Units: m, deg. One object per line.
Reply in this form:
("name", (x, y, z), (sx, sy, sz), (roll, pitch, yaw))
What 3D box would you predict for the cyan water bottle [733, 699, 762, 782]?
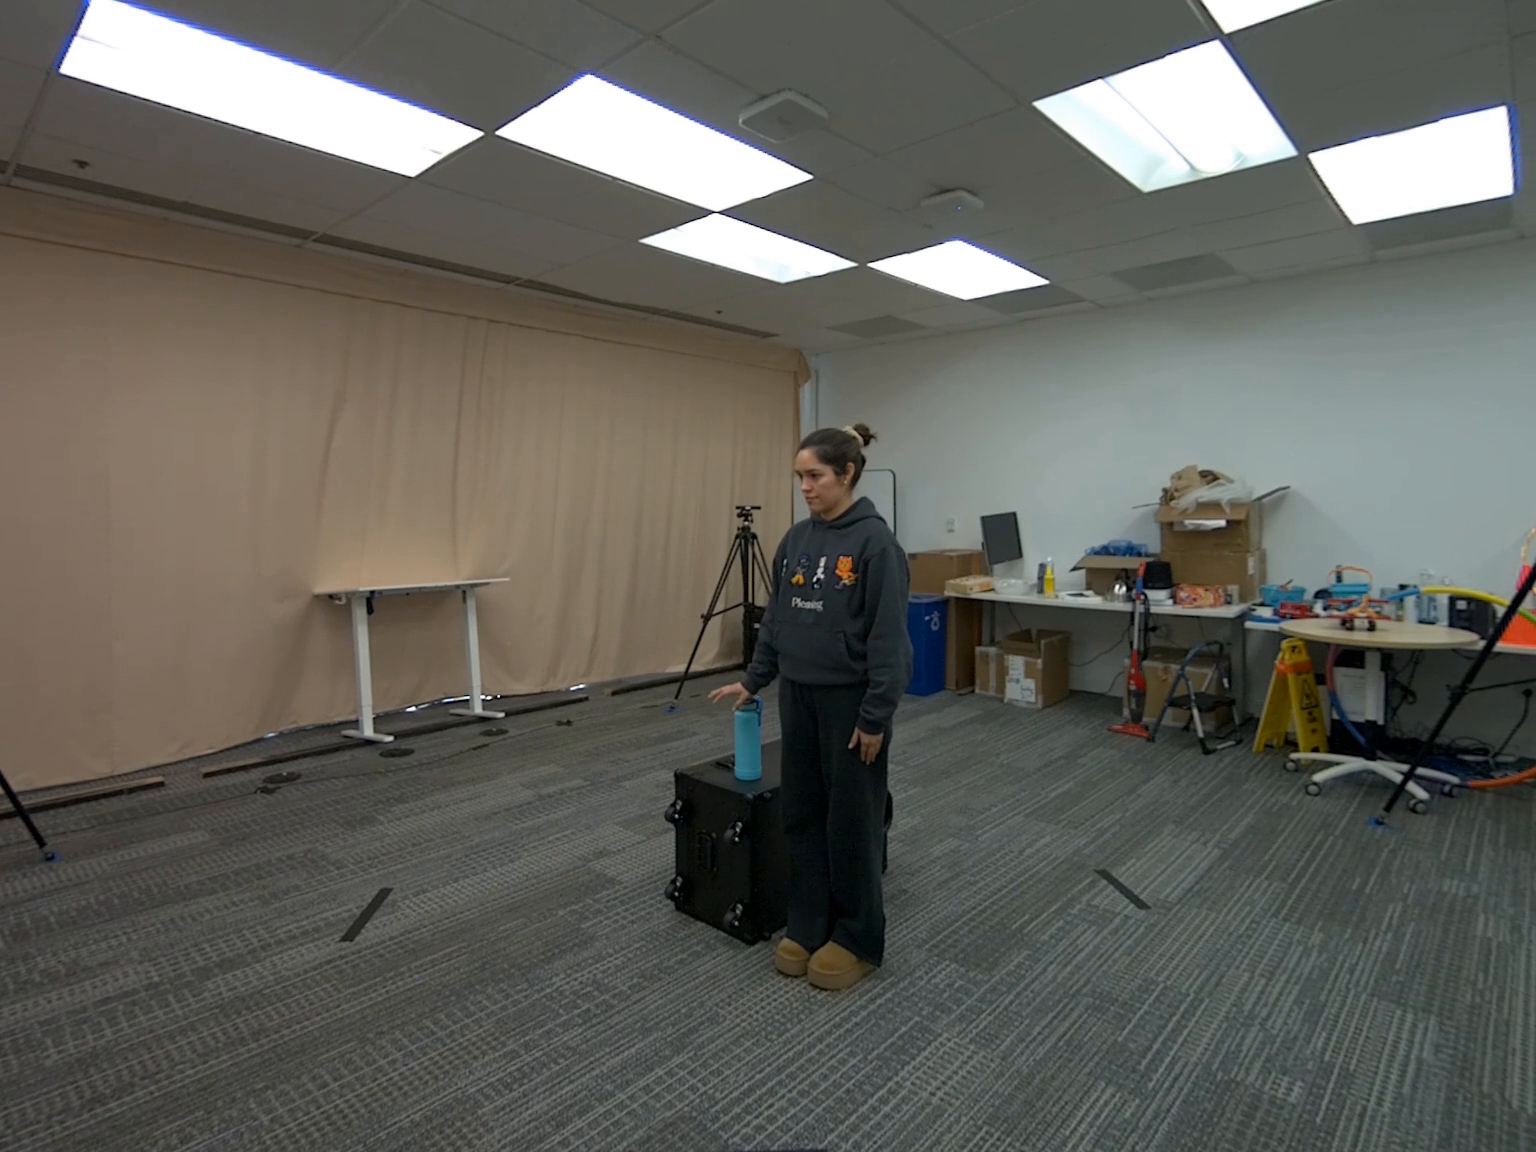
("cyan water bottle", (-0.052, 0.534, 2.826), (0.092, 0.283, 0.092), (0, 3, -2))
